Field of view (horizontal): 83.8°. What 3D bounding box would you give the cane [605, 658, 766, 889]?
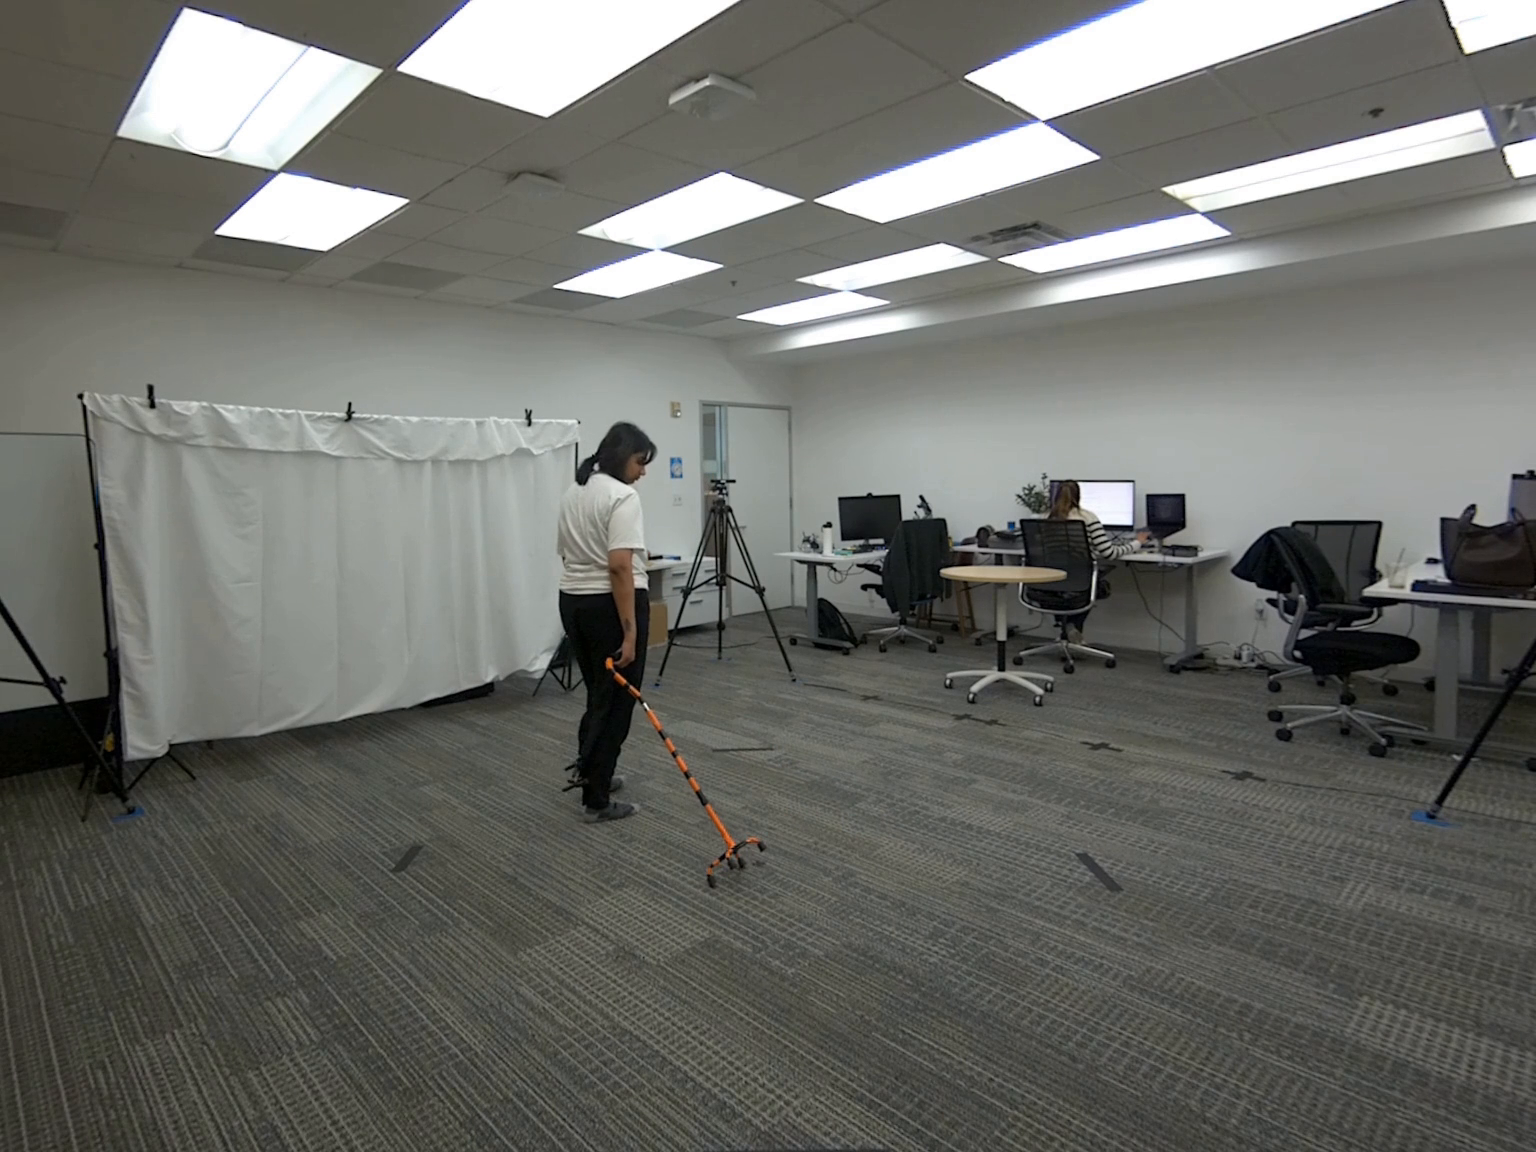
[{"bbox_3d":[-0.342,0.669,3.148,0.151,0.933,0.201,-48,-25,27],"label":"cane"}]
